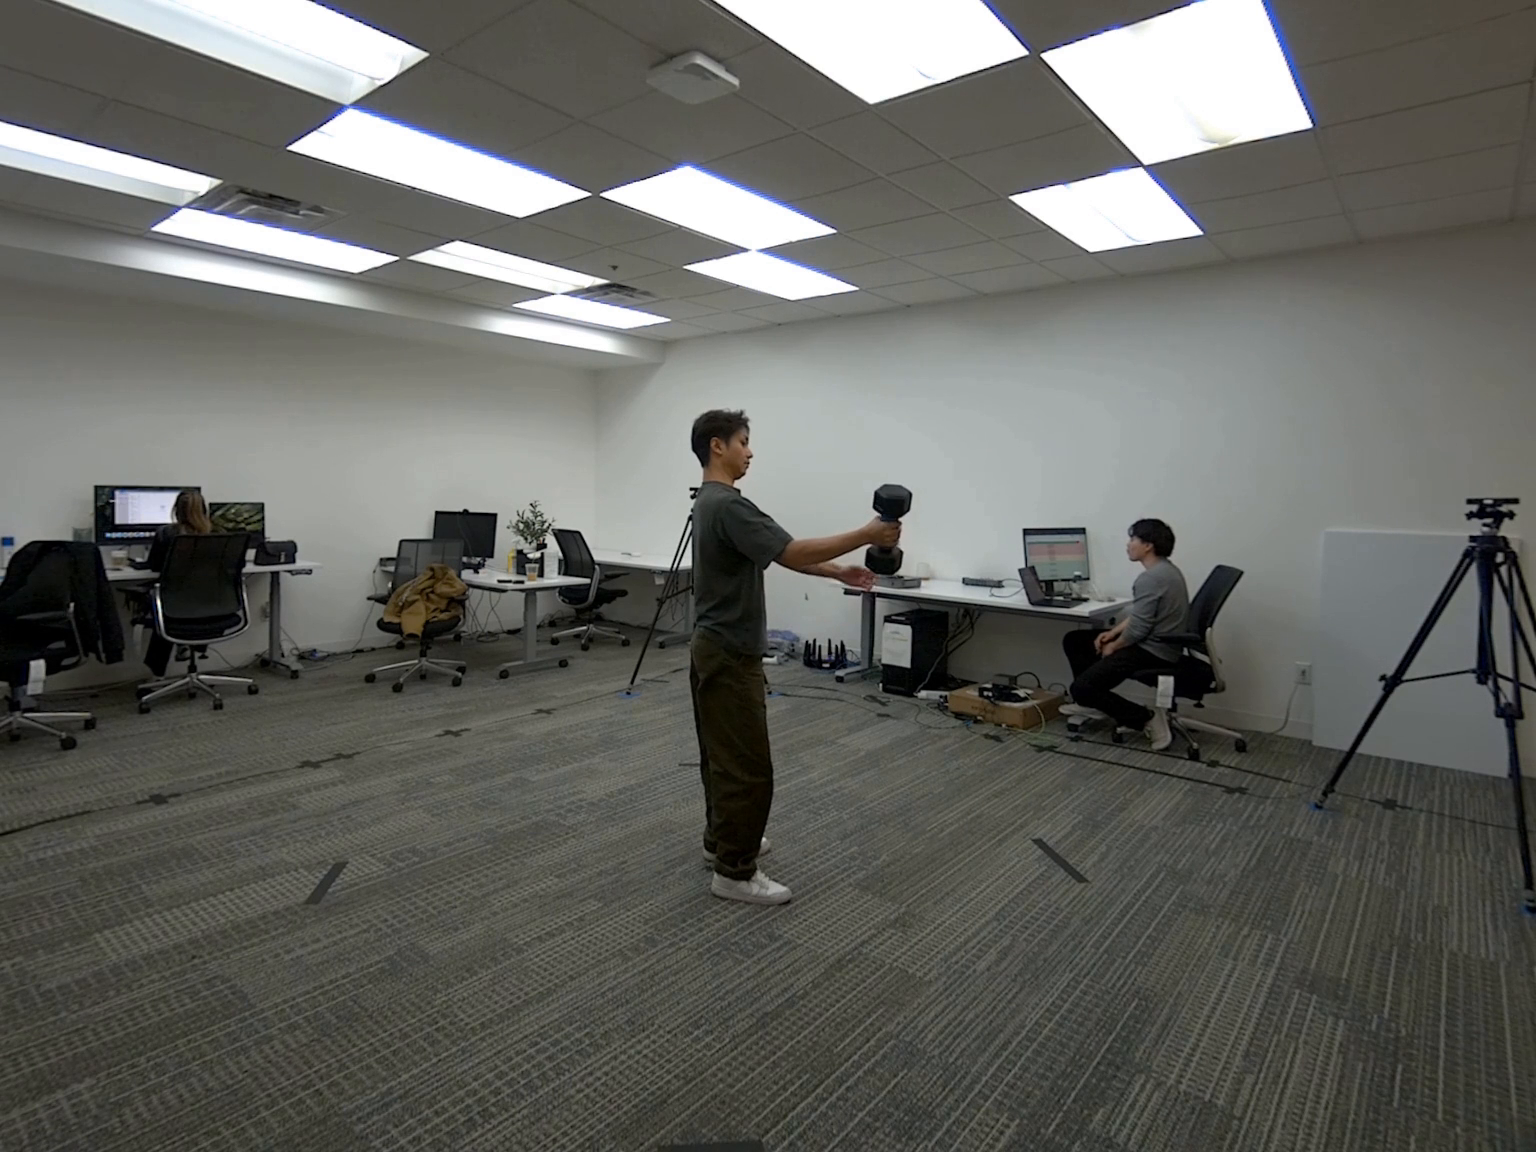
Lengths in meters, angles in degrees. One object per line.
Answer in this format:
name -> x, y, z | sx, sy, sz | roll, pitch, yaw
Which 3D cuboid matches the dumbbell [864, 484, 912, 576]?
dumbbell -> 0.385, -0.154, 2.789 | 0.112, 0.287, 0.122 | 19, 32, 26
